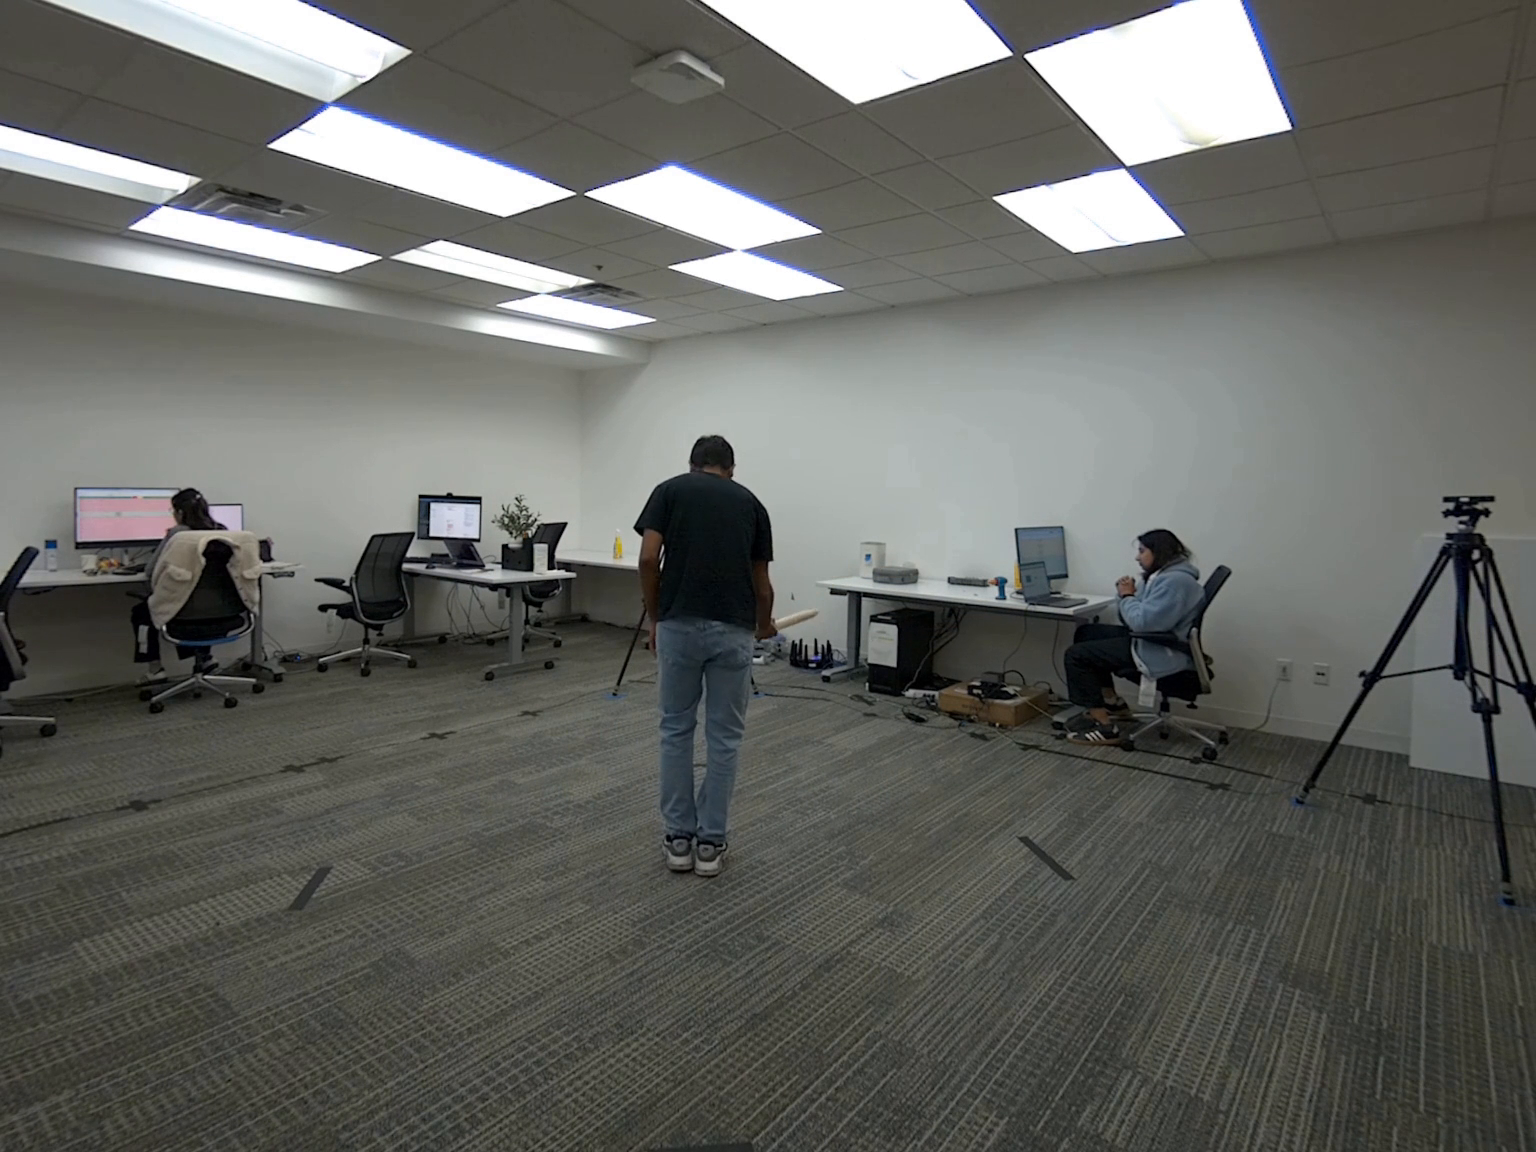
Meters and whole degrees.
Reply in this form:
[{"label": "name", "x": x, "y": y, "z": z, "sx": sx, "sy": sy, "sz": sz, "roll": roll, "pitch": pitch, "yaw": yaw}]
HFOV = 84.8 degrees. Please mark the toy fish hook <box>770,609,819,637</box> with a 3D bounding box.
[{"label": "toy fish hook", "x": -0.023, "y": 0.240, "z": 3.605, "sx": 0.497, "sy": 0.049, "sz": 0.224, "roll": -17, "pitch": -15, "yaw": -27}]
